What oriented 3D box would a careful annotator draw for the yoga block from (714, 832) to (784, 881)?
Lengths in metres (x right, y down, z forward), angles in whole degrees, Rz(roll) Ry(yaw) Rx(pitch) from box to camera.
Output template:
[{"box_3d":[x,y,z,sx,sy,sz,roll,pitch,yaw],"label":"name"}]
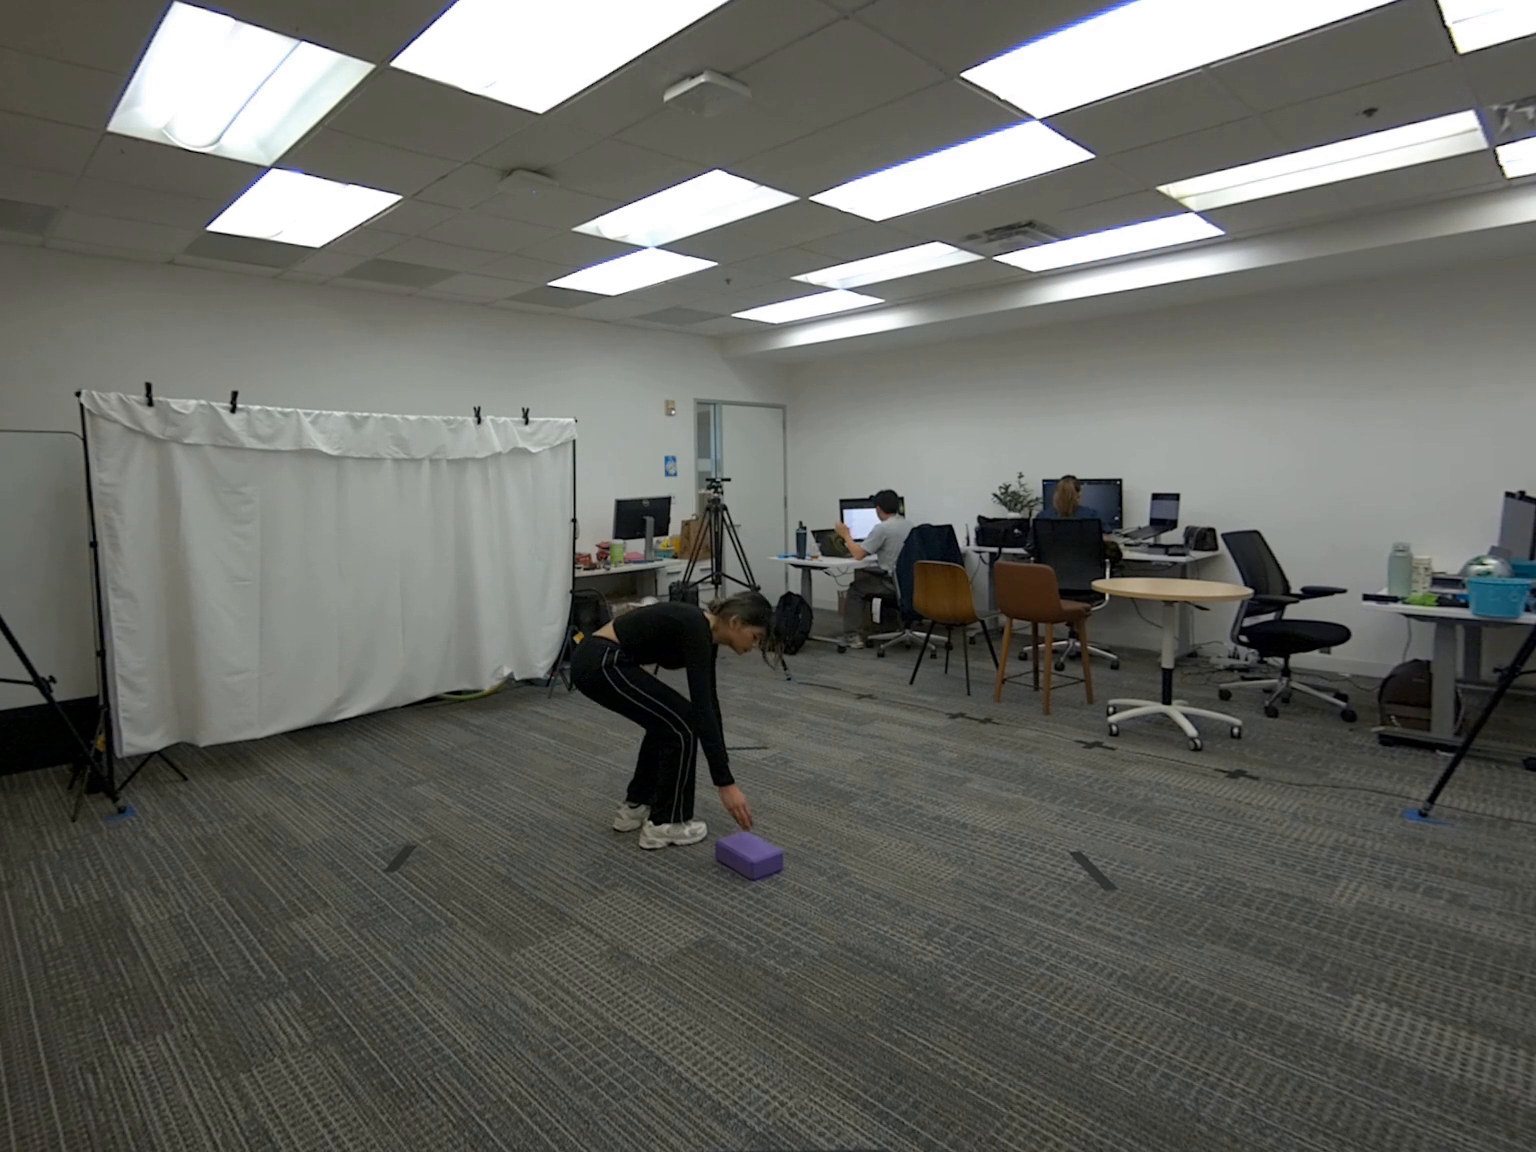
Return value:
[{"box_3d":[-0.066,1.003,3.085,0.145,0.076,0.236,-4,7,-37],"label":"yoga block"}]
